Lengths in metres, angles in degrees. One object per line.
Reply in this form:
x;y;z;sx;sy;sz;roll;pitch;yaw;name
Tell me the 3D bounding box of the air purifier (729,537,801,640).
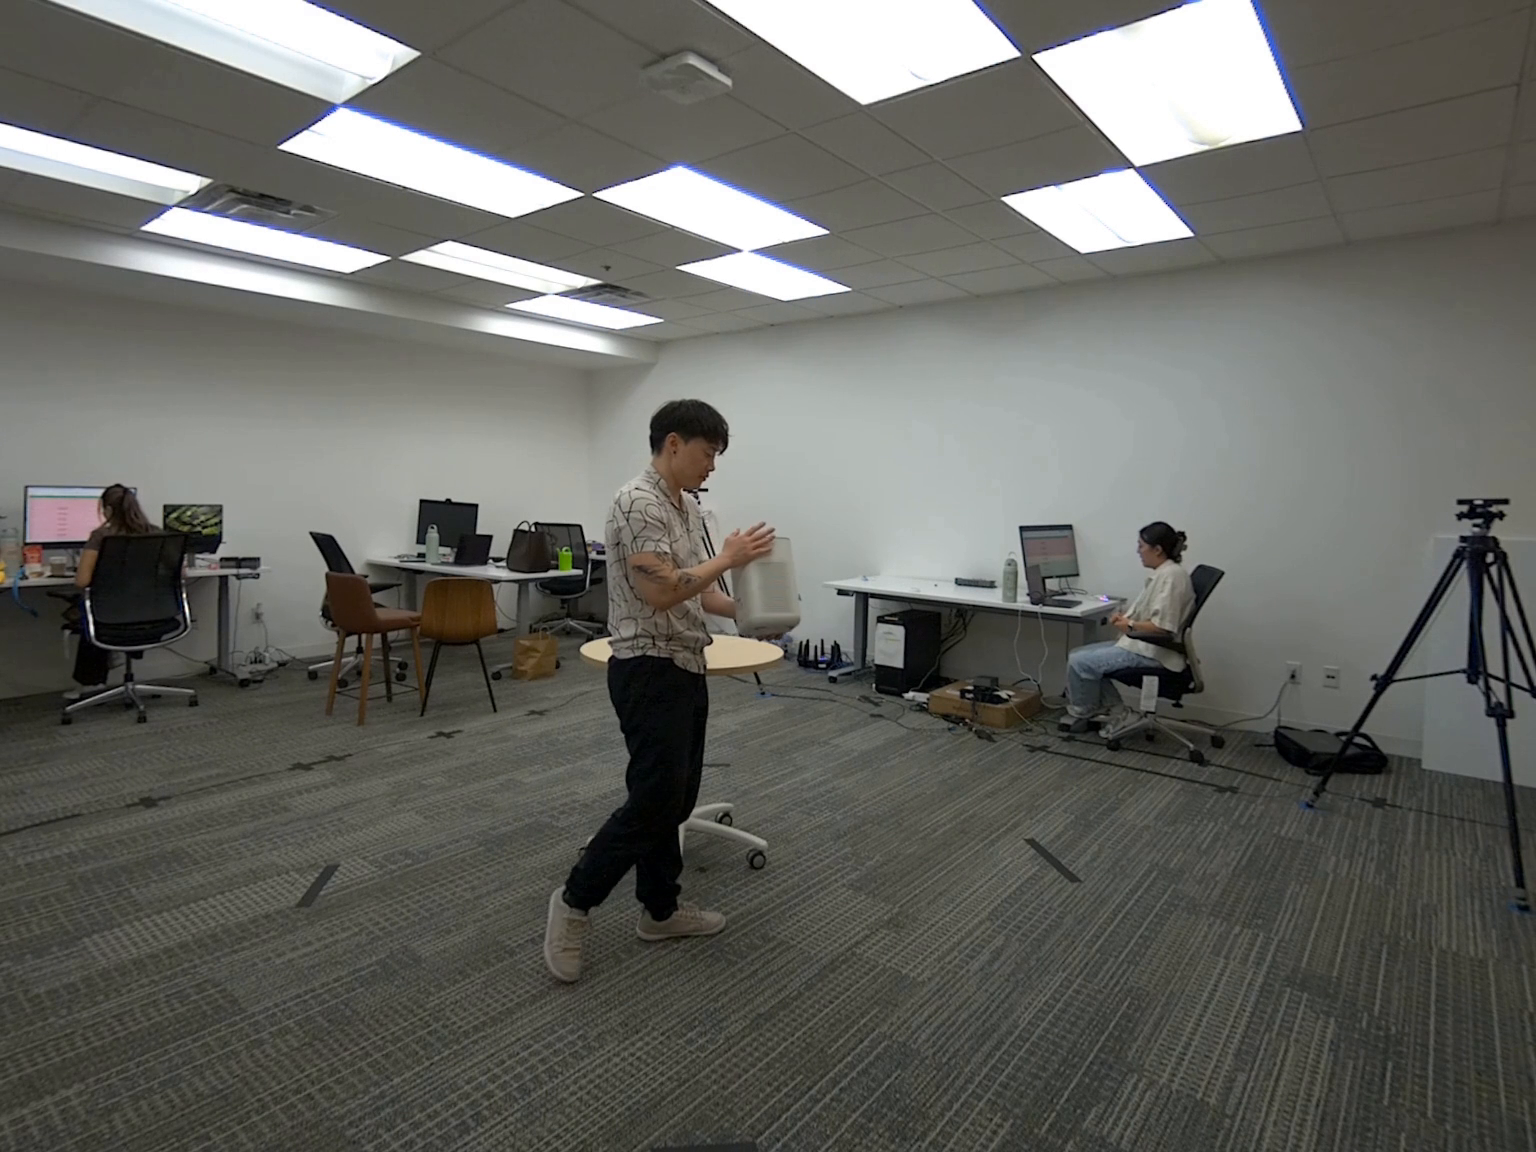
-0.030;0.039;2.518;0.169;0.270;0.170;0;-19;-17;air purifier
